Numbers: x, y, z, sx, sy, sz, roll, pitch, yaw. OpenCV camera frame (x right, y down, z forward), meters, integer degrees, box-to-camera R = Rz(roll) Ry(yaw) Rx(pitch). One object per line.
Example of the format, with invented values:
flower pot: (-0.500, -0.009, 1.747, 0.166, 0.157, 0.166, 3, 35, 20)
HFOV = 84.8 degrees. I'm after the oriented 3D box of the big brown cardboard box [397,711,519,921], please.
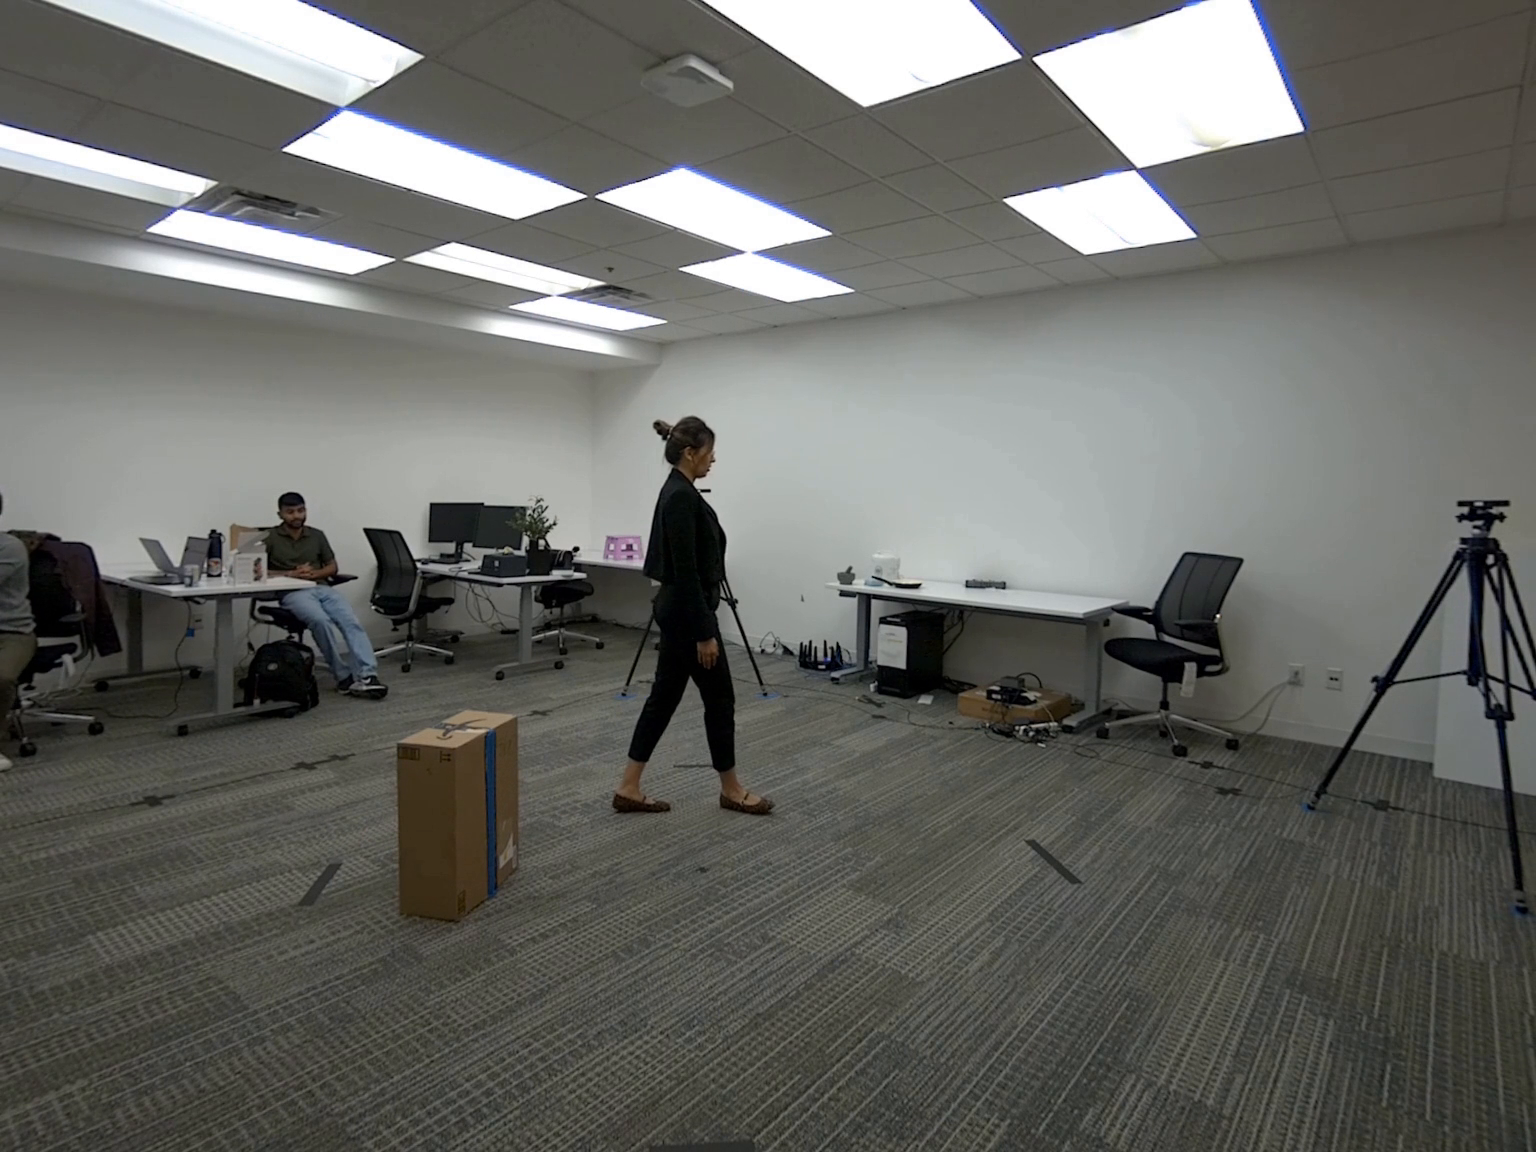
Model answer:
big brown cardboard box: (-1.058, 0.800, 2.905, 0.236, 0.587, 0.413, 1, 5, 12)
